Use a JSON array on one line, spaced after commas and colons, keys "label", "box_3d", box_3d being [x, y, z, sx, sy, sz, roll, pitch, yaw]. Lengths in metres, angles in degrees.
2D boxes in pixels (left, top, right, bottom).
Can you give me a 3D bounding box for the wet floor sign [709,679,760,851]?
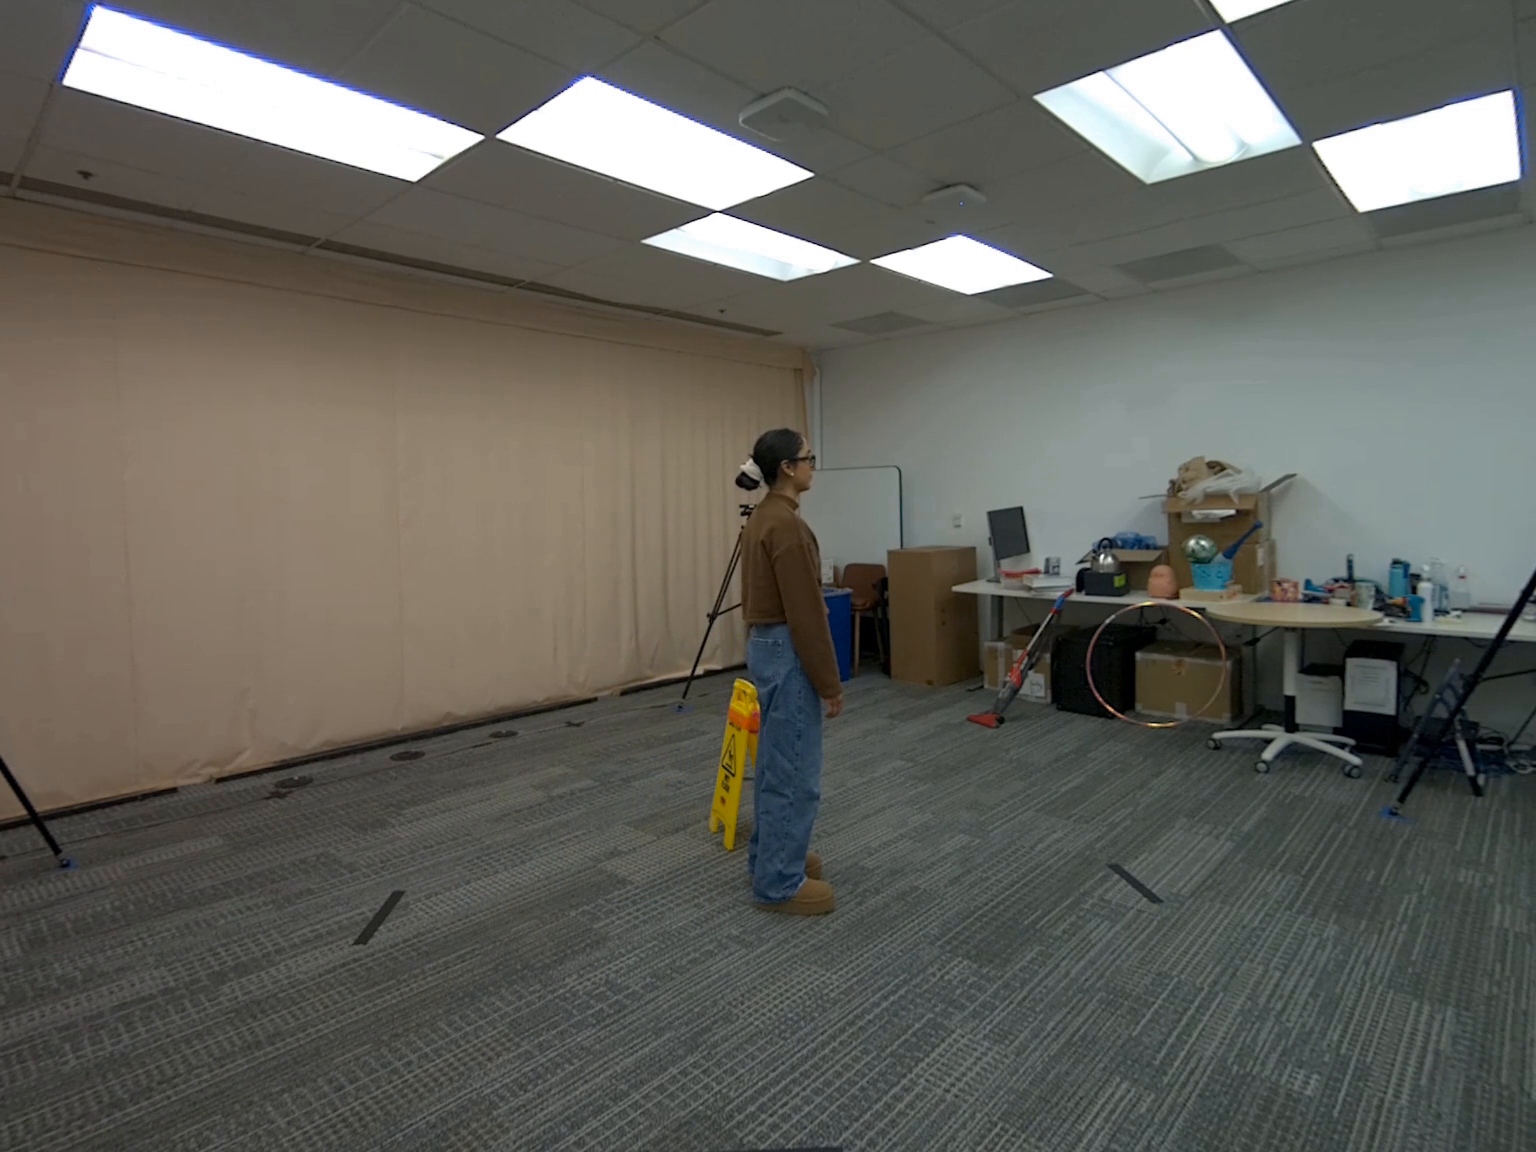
[{"label": "wet floor sign", "box_3d": [-0.089, 0.768, 3.542, 0.284, 0.645, 0.288, -3, 3, -20]}]
